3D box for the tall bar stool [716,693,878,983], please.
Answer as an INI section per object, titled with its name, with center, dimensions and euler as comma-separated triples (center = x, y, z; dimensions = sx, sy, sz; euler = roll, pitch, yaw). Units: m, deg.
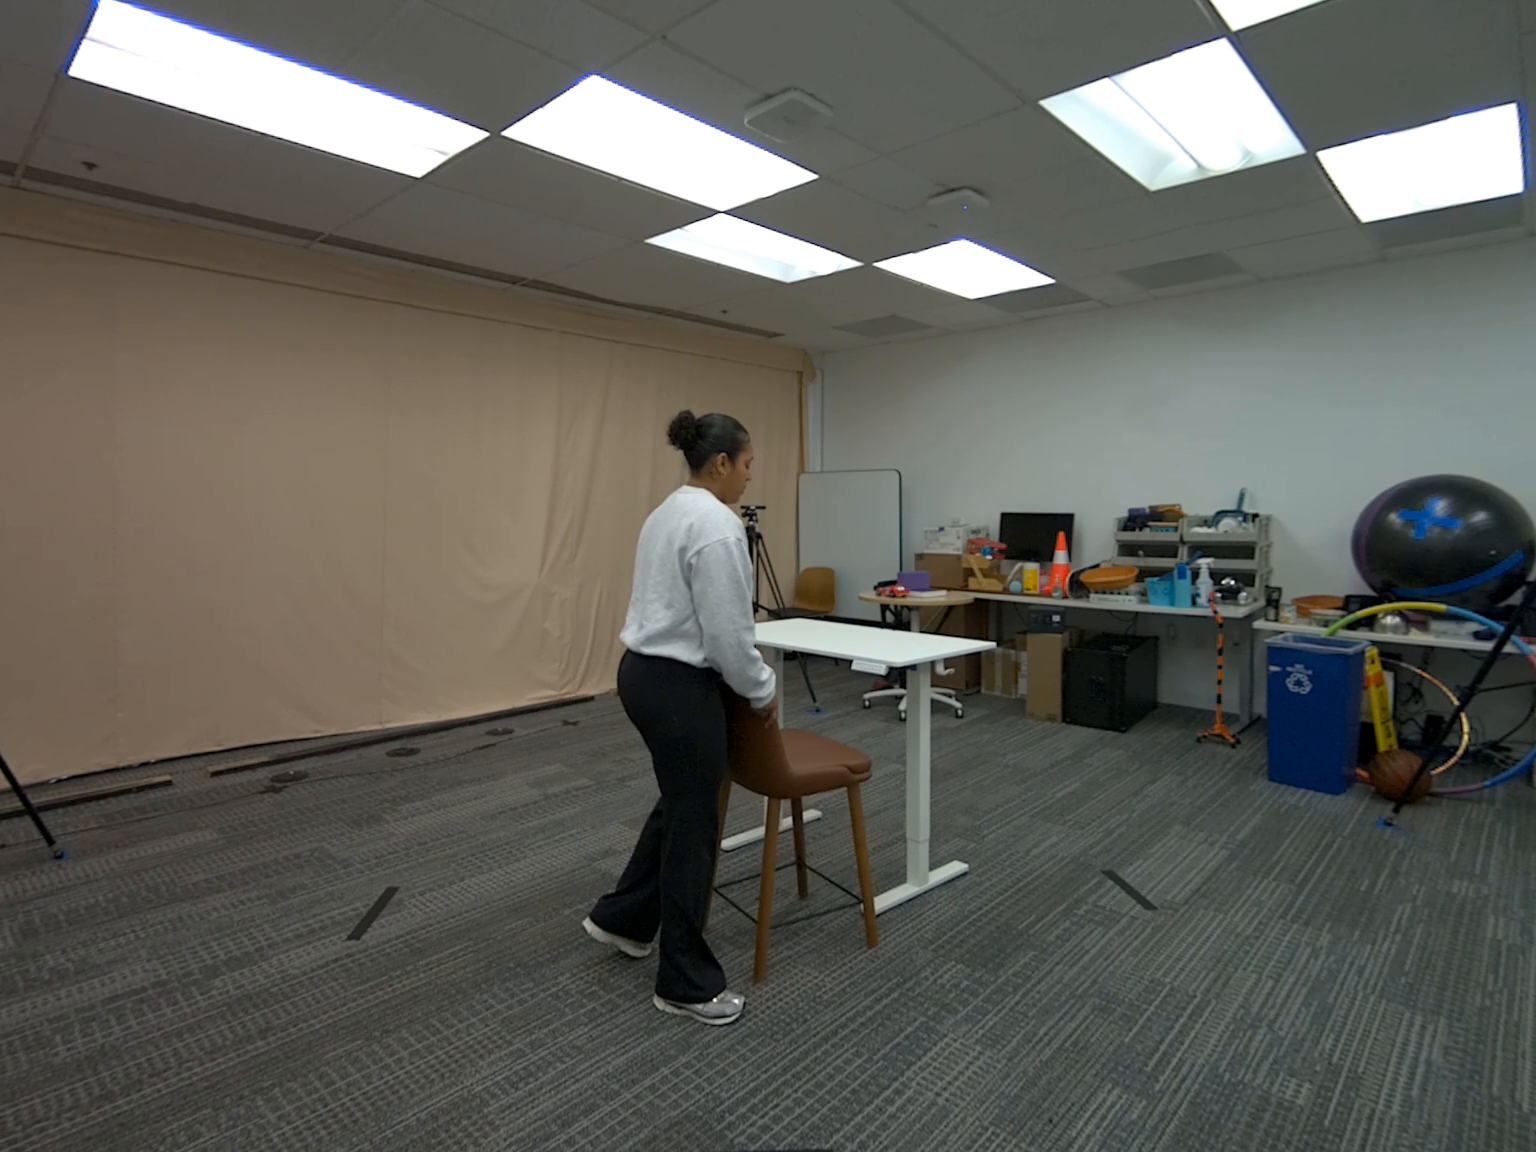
[tall bar stool]
center = 0.051, 0.729, 2.698
dimensions = 0.455, 0.887, 0.470
euler = -4, 5, -31
